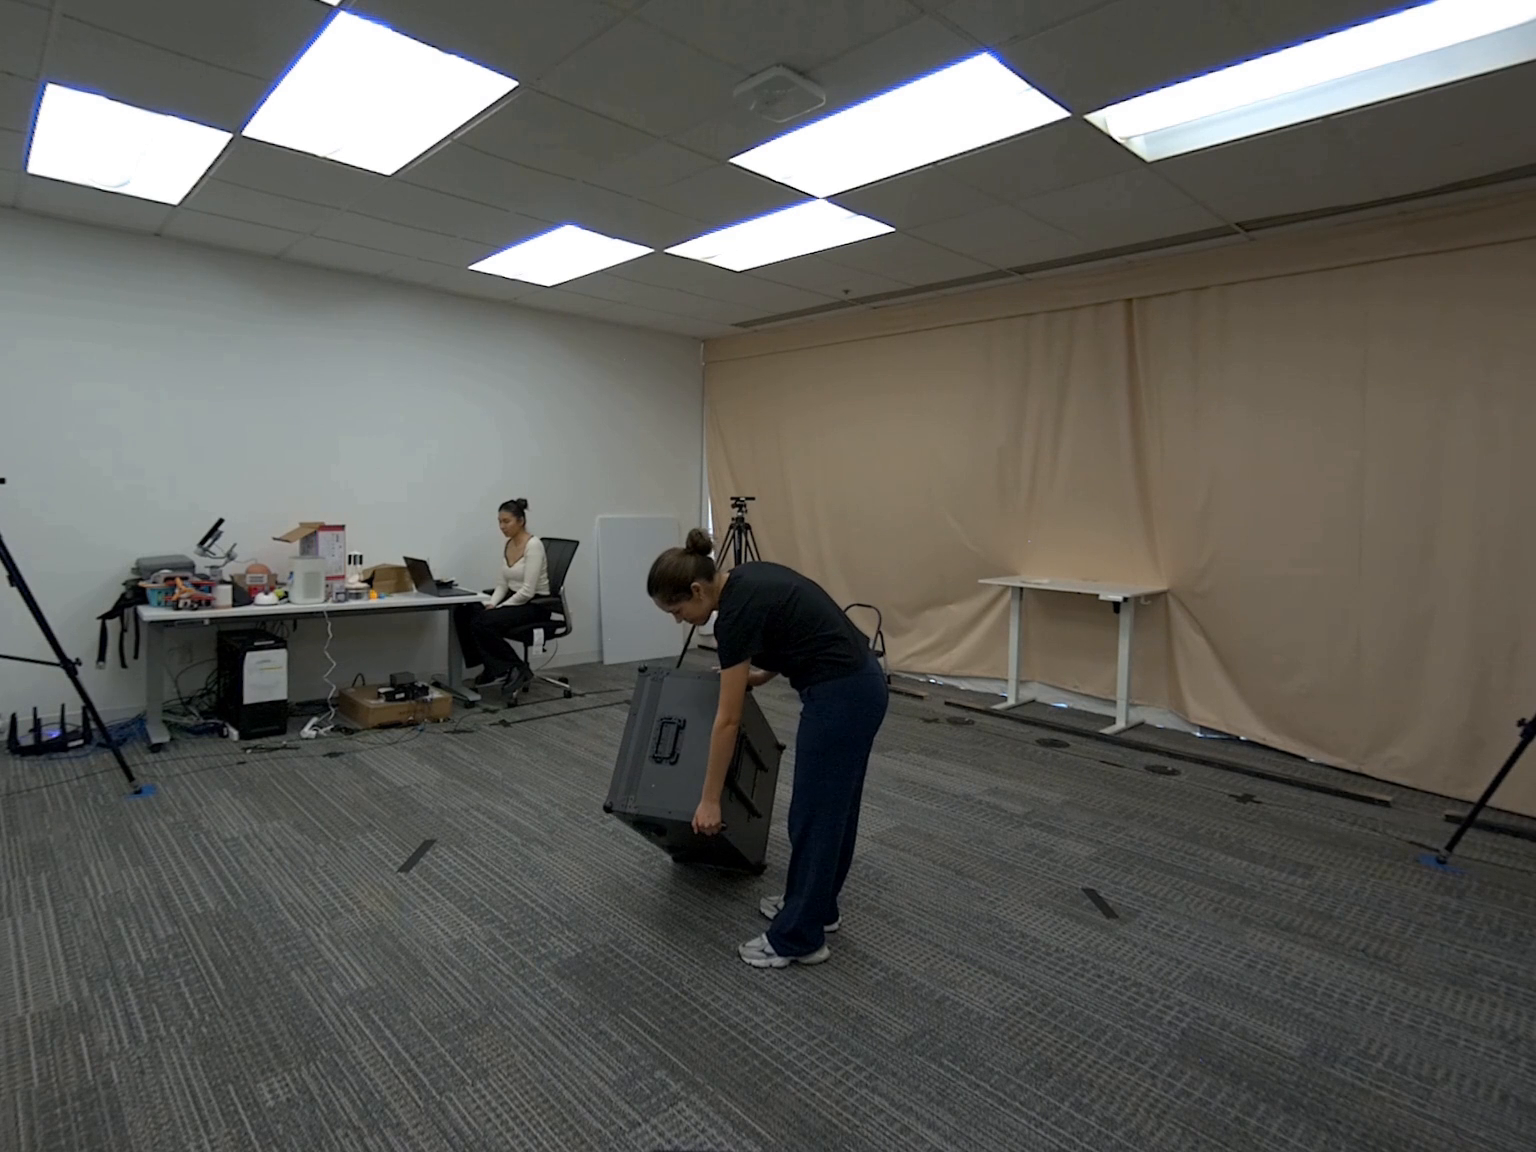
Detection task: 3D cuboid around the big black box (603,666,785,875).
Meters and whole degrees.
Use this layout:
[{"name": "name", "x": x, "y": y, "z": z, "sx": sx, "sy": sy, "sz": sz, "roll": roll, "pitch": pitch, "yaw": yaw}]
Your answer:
[{"name": "big black box", "x": -0.208, "y": 0.716, "z": 2.981, "sx": 0.401, "sy": 0.528, "sz": 0.839, "roll": 4, "pitch": -28, "yaw": 15}]
